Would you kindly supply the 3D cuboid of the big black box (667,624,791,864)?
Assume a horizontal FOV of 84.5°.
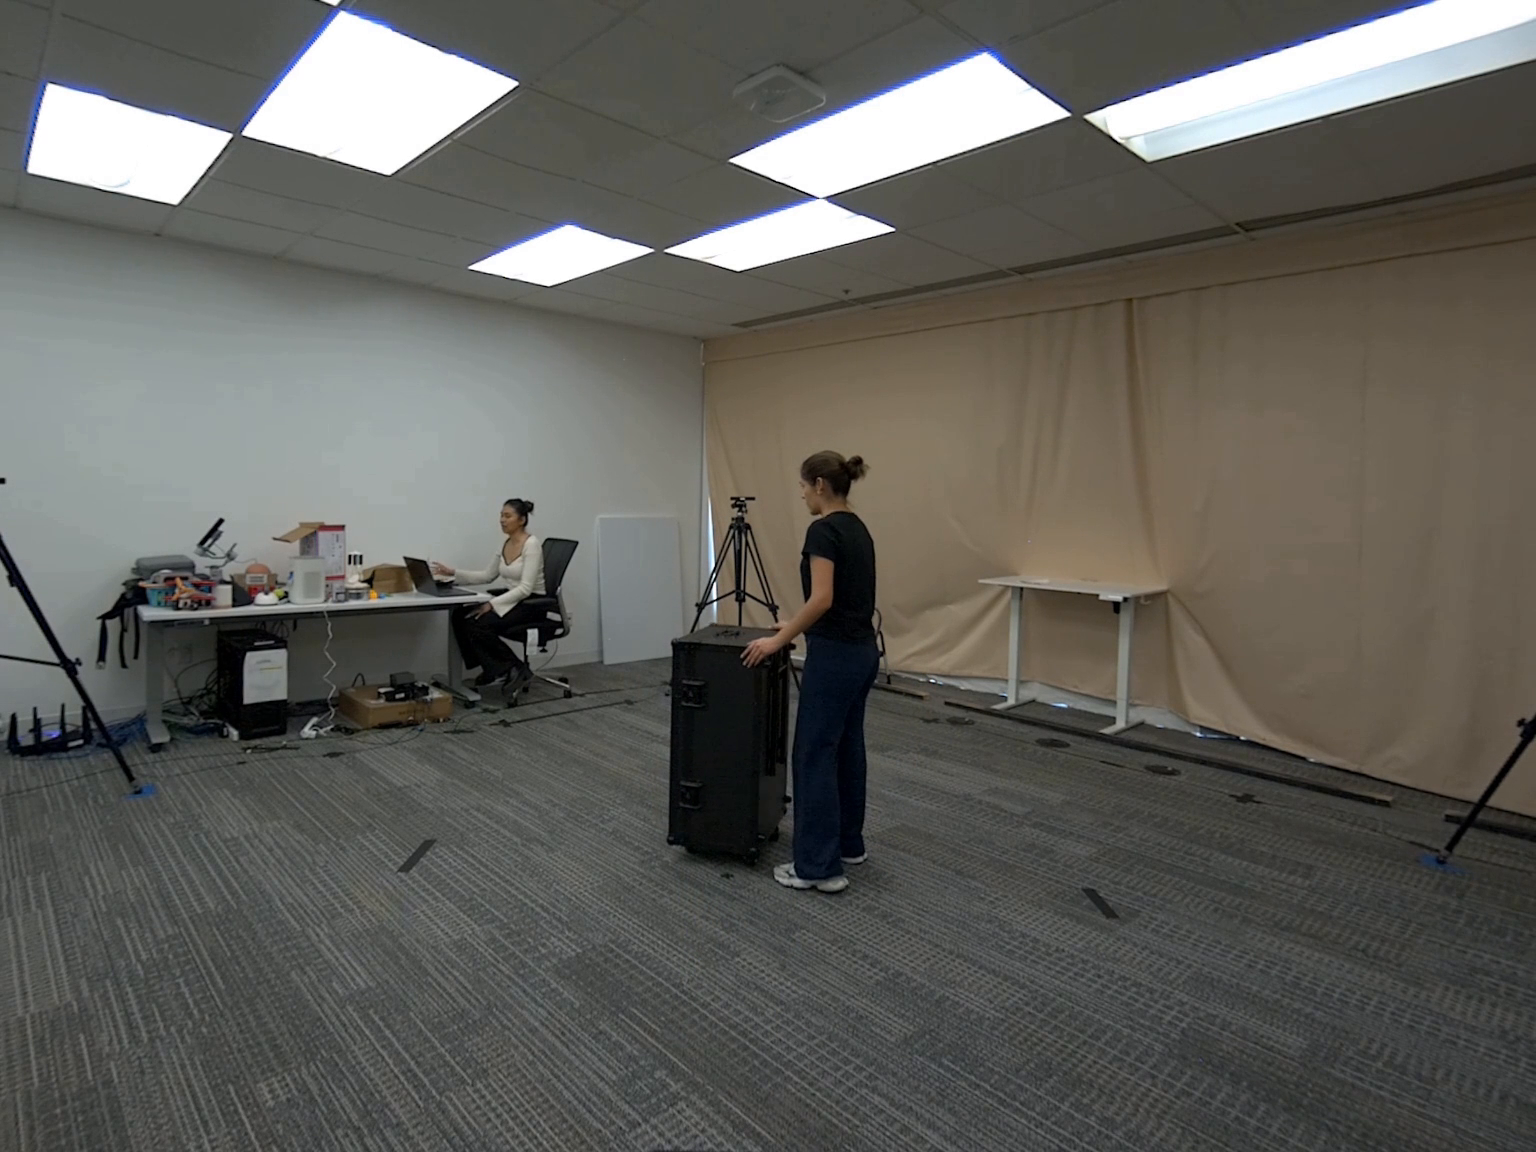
[{"bbox_3d":[-0.134,0.656,3.357,0.402,0.859,0.515,3,3,16],"label":"big black box"}]
